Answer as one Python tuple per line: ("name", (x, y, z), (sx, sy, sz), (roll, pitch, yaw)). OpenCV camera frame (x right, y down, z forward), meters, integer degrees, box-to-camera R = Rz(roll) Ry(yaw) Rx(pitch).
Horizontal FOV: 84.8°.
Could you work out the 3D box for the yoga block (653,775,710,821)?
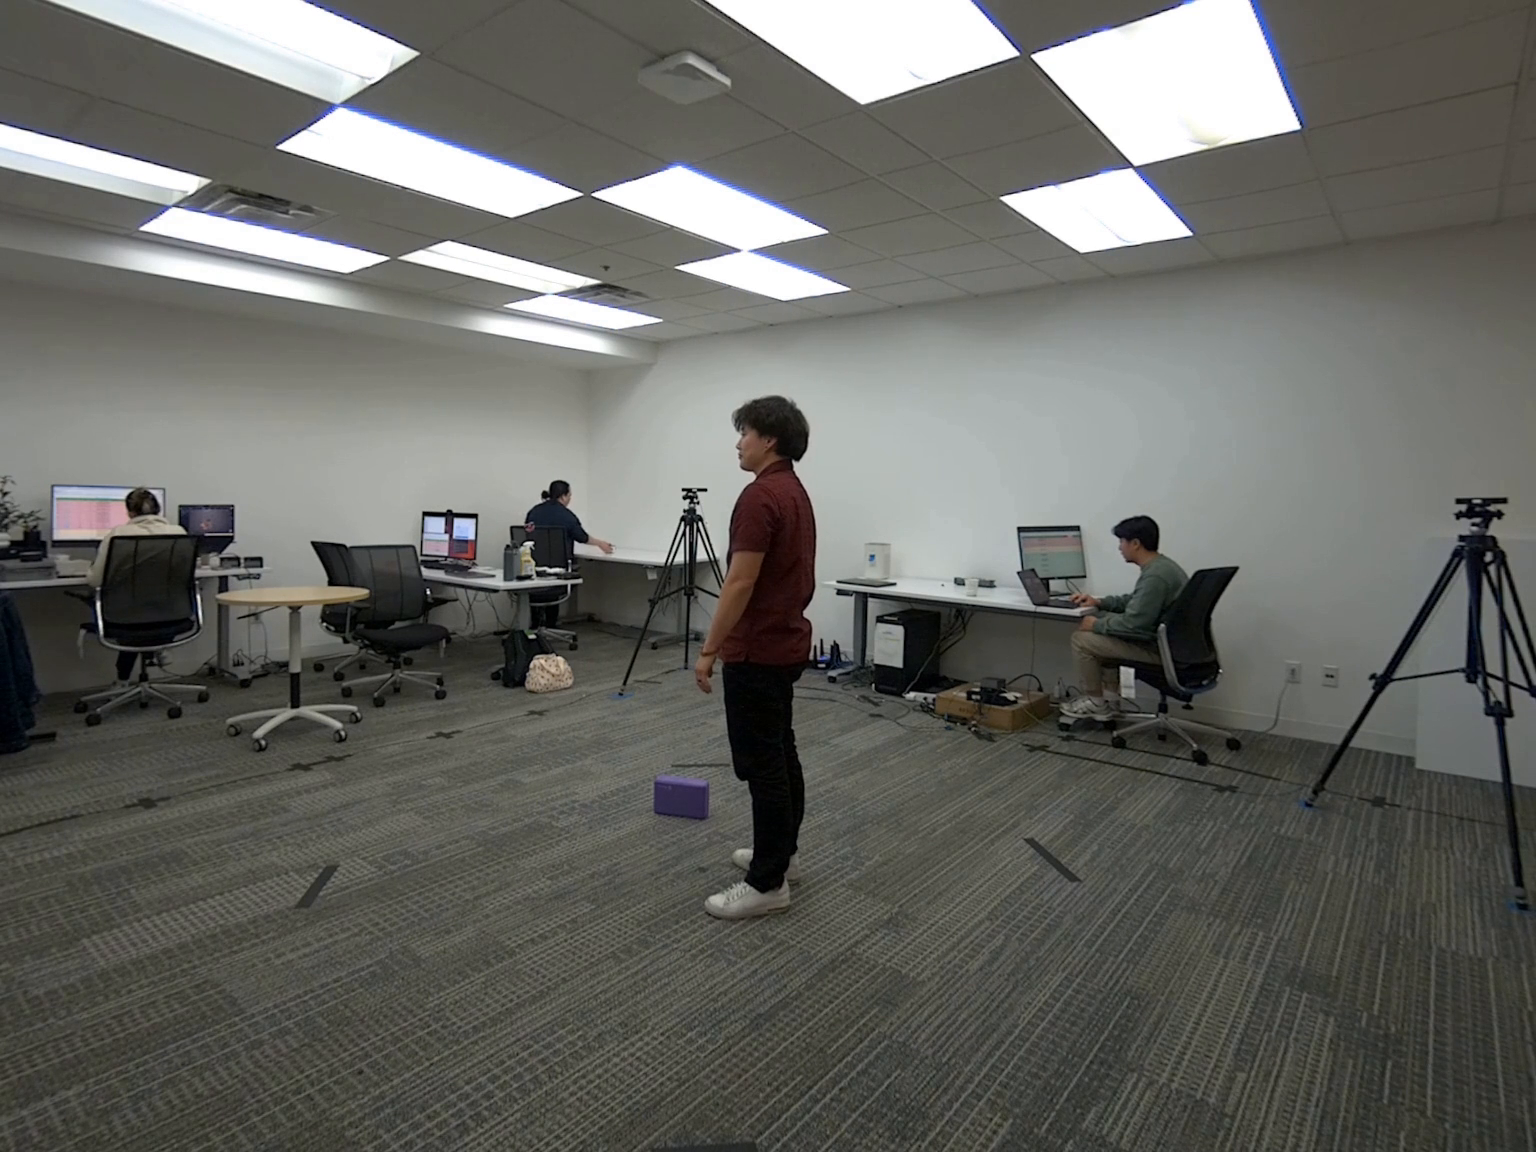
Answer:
("yoga block", (-0.382, 0.938, 3.633), (0.233, 0.148, 0.075), (3, 3, 15))
